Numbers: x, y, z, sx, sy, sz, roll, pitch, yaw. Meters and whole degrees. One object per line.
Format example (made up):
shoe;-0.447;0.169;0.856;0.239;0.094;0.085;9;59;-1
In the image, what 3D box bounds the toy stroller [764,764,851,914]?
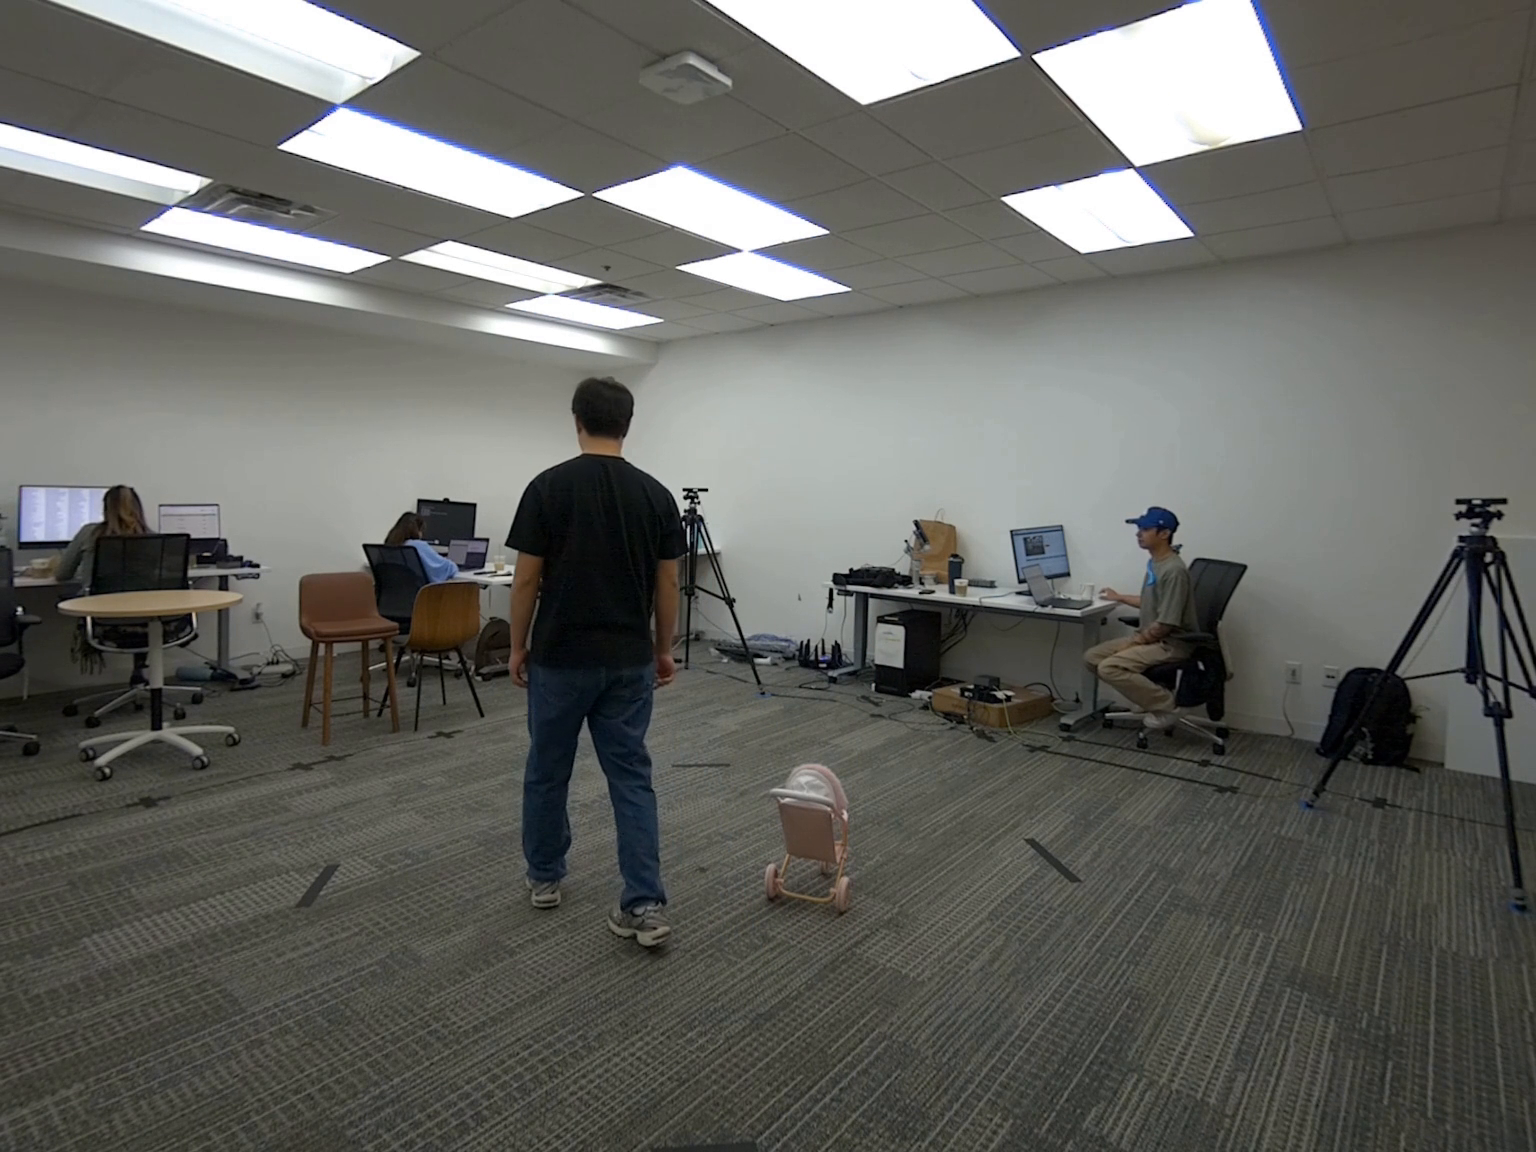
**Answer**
toy stroller;0.148;0.873;2.914;0.288;0.525;0.340;4;21;22
